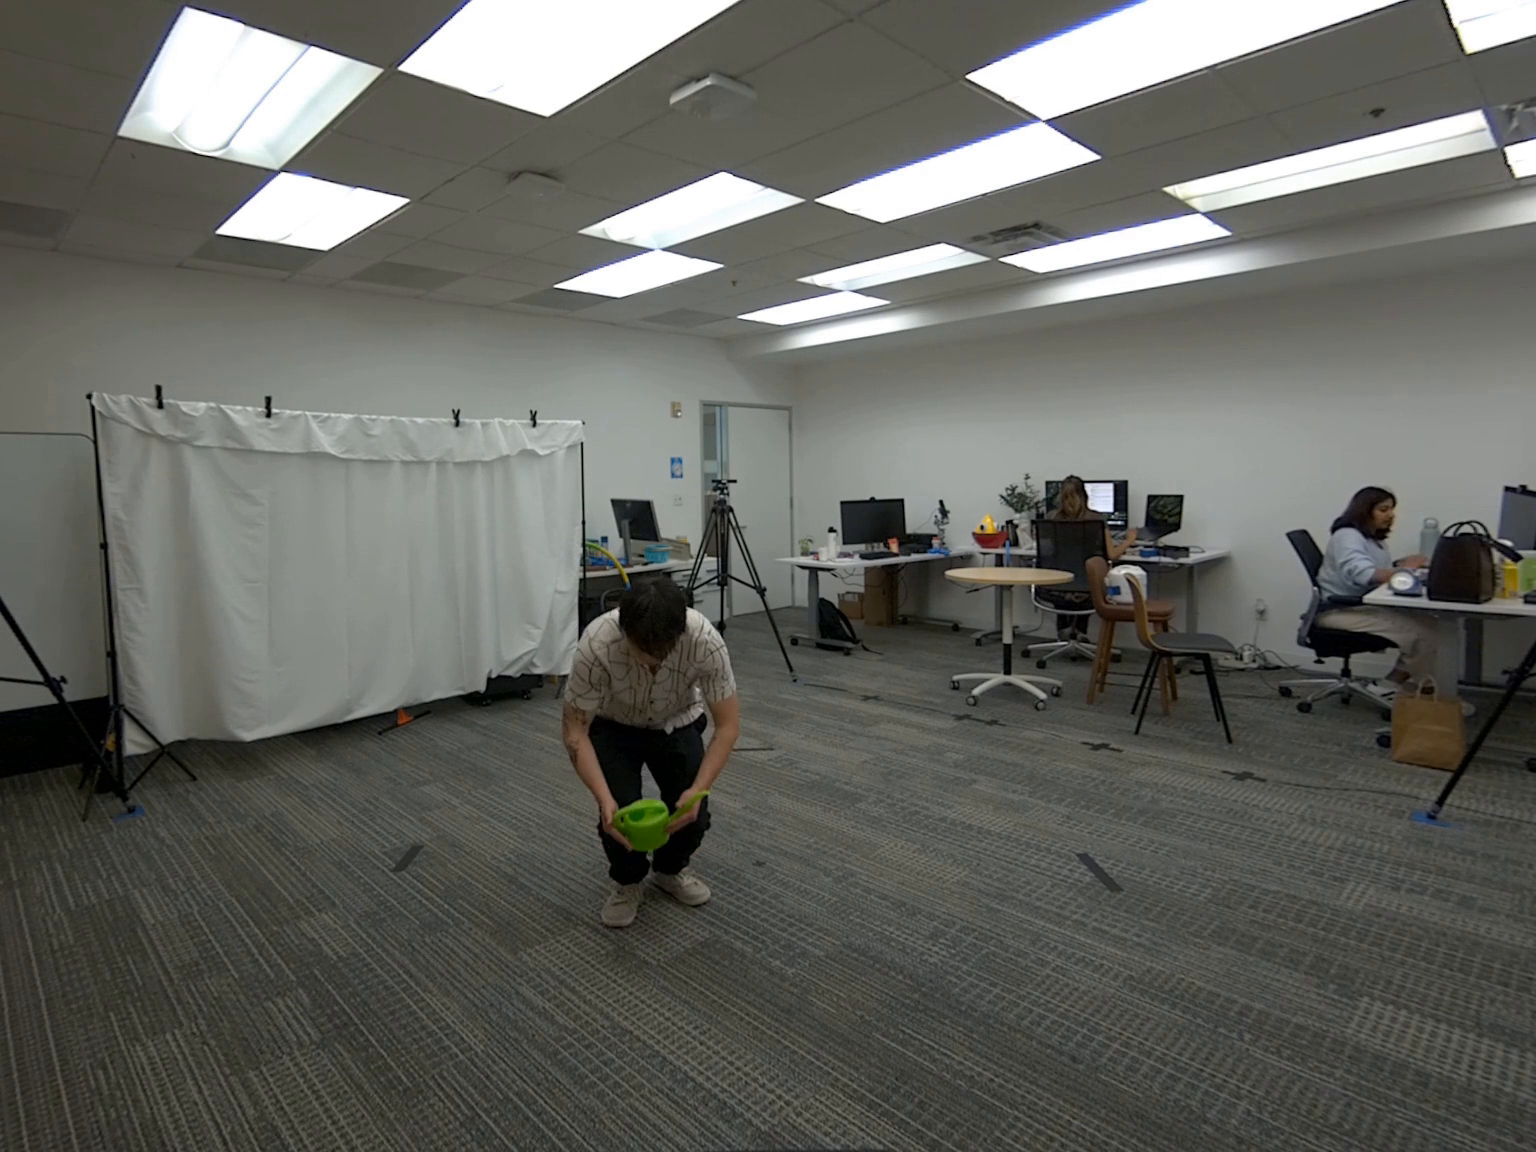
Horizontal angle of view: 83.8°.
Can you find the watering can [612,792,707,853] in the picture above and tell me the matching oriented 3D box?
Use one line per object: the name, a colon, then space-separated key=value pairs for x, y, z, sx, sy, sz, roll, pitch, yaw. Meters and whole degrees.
watering can: x=-0.314 y=0.703 z=2.473 sx=0.277 sy=0.172 sz=0.101 roll=-2 pitch=43 yaw=-5
